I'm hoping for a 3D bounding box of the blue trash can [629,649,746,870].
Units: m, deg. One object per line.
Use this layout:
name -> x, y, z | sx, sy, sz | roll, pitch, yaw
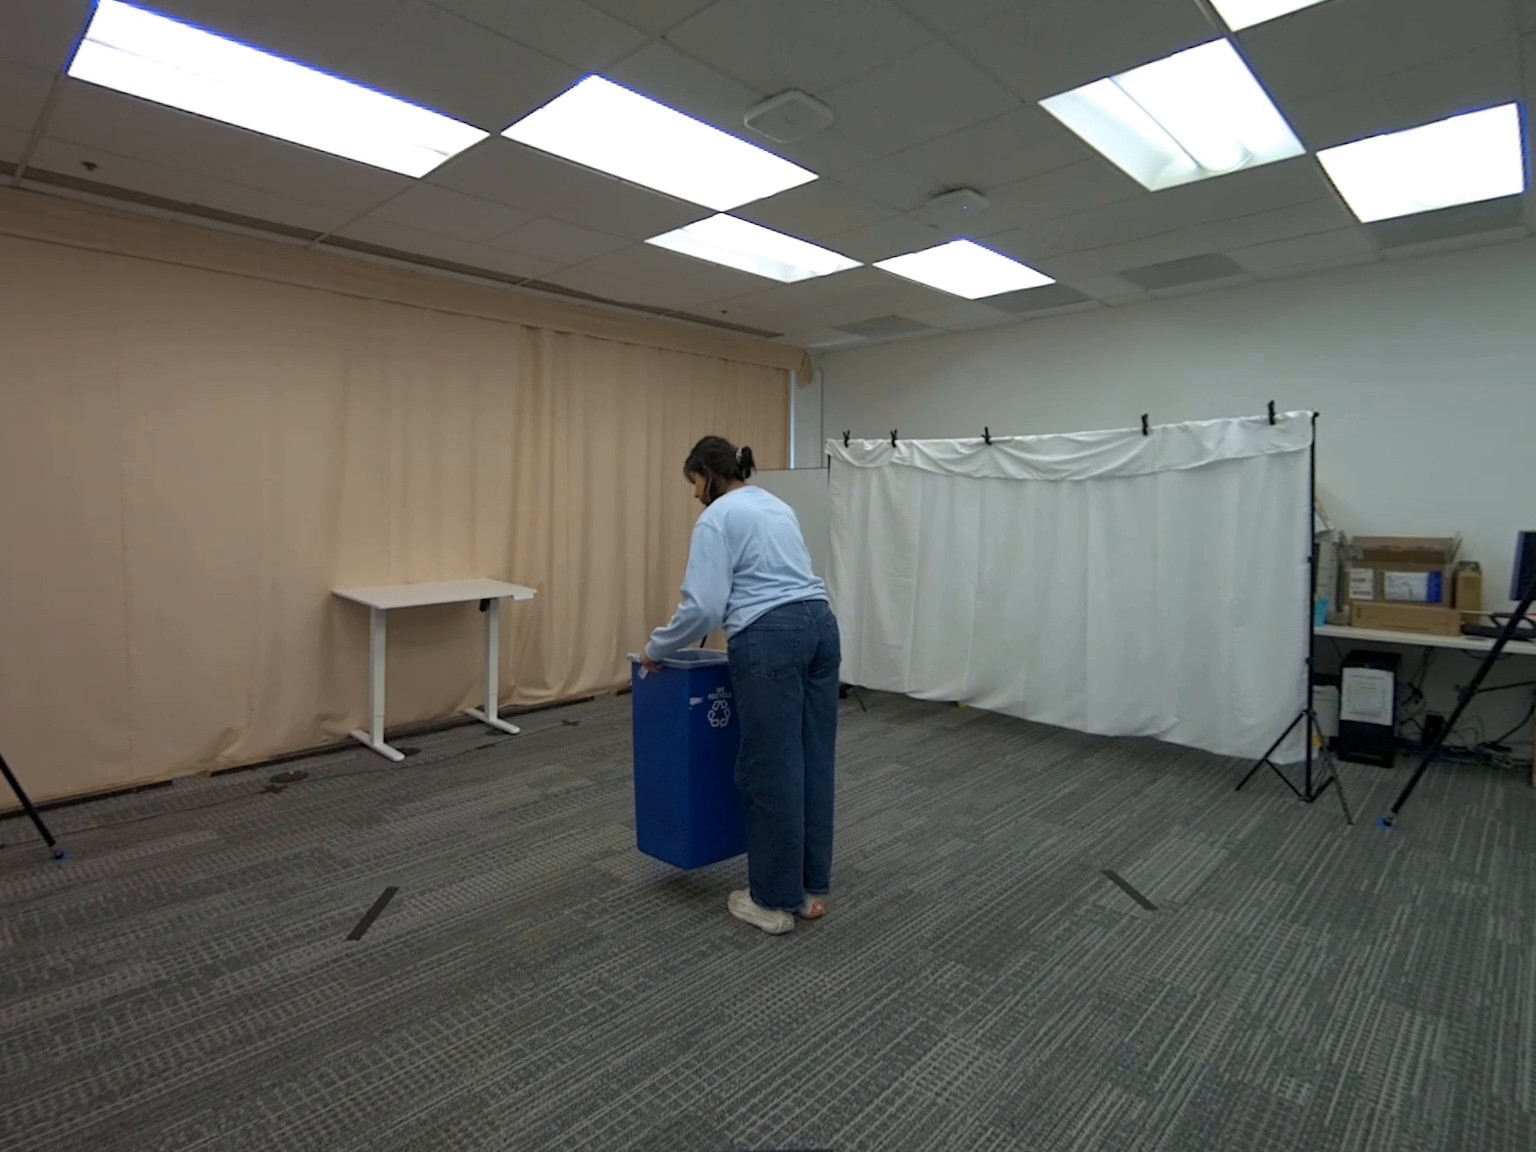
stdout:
blue trash can -> -0.275, 0.647, 3.081 | 0.362, 0.714, 0.390 | 0, 0, -44
